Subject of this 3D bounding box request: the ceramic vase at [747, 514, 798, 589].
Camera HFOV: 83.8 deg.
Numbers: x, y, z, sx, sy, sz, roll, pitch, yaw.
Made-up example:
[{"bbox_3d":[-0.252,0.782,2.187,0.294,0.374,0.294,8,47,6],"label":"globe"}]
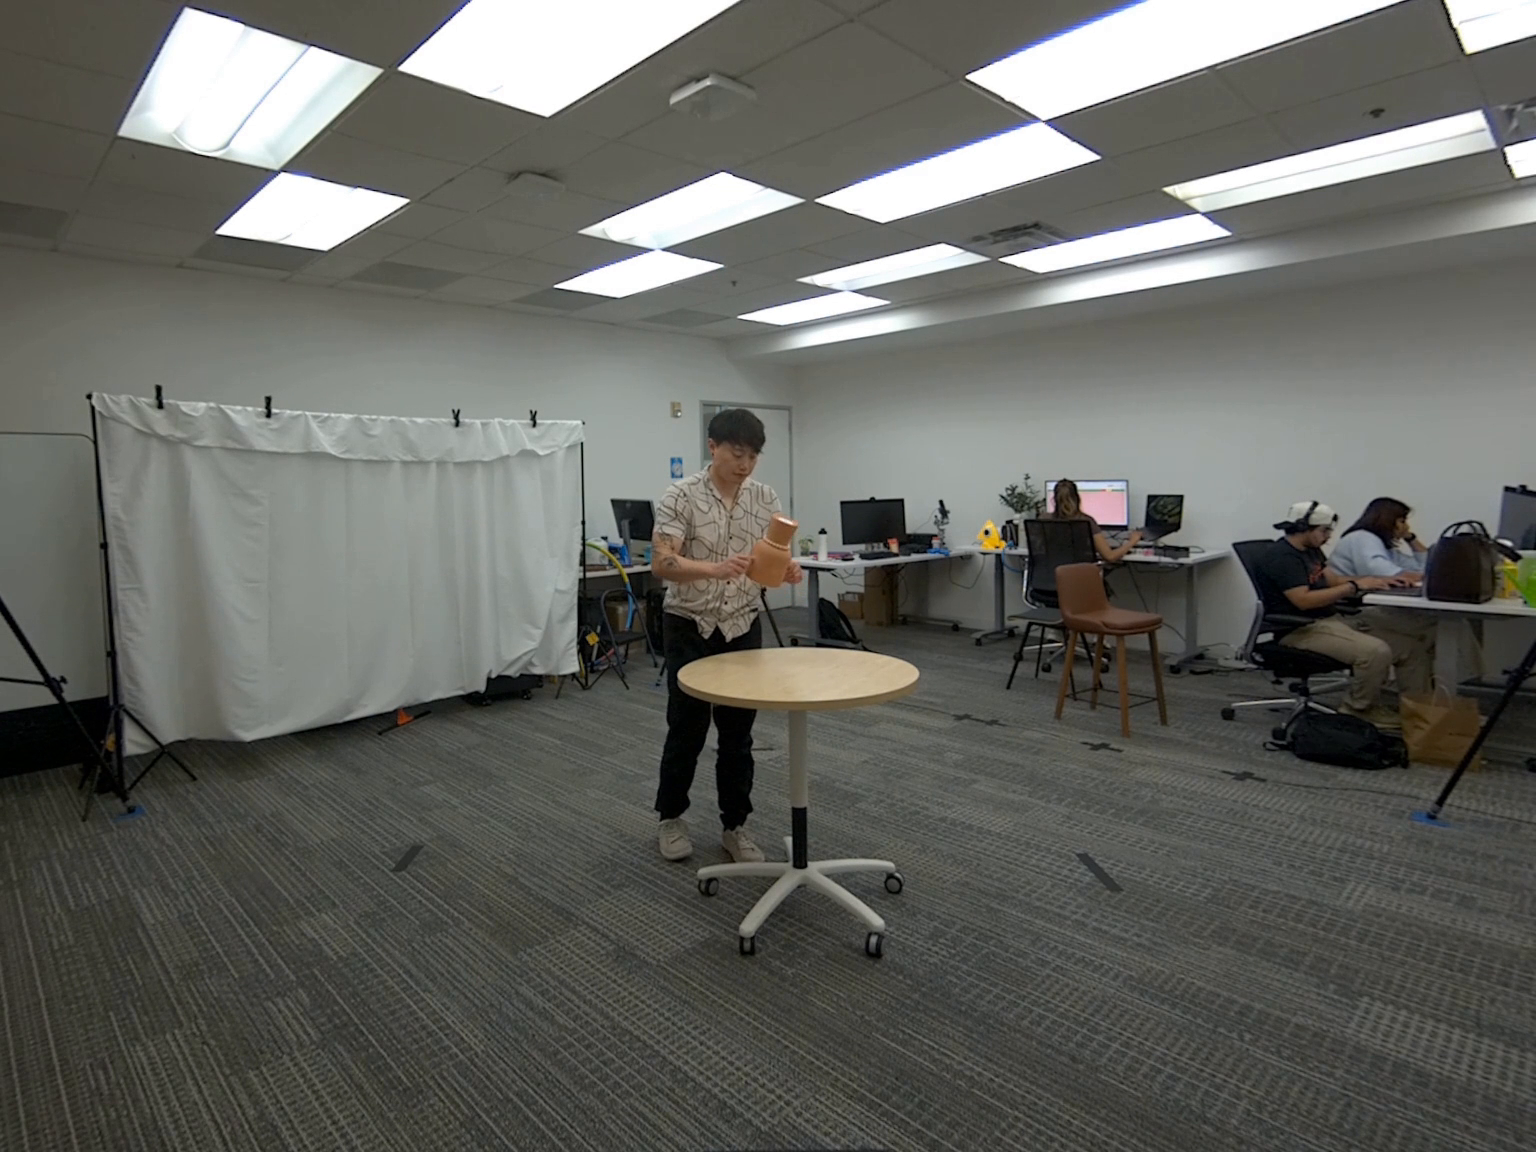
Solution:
[{"bbox_3d":[0.017,-0.085,2.870,0.137,0.218,0.157,24,14,11],"label":"ceramic vase"}]
